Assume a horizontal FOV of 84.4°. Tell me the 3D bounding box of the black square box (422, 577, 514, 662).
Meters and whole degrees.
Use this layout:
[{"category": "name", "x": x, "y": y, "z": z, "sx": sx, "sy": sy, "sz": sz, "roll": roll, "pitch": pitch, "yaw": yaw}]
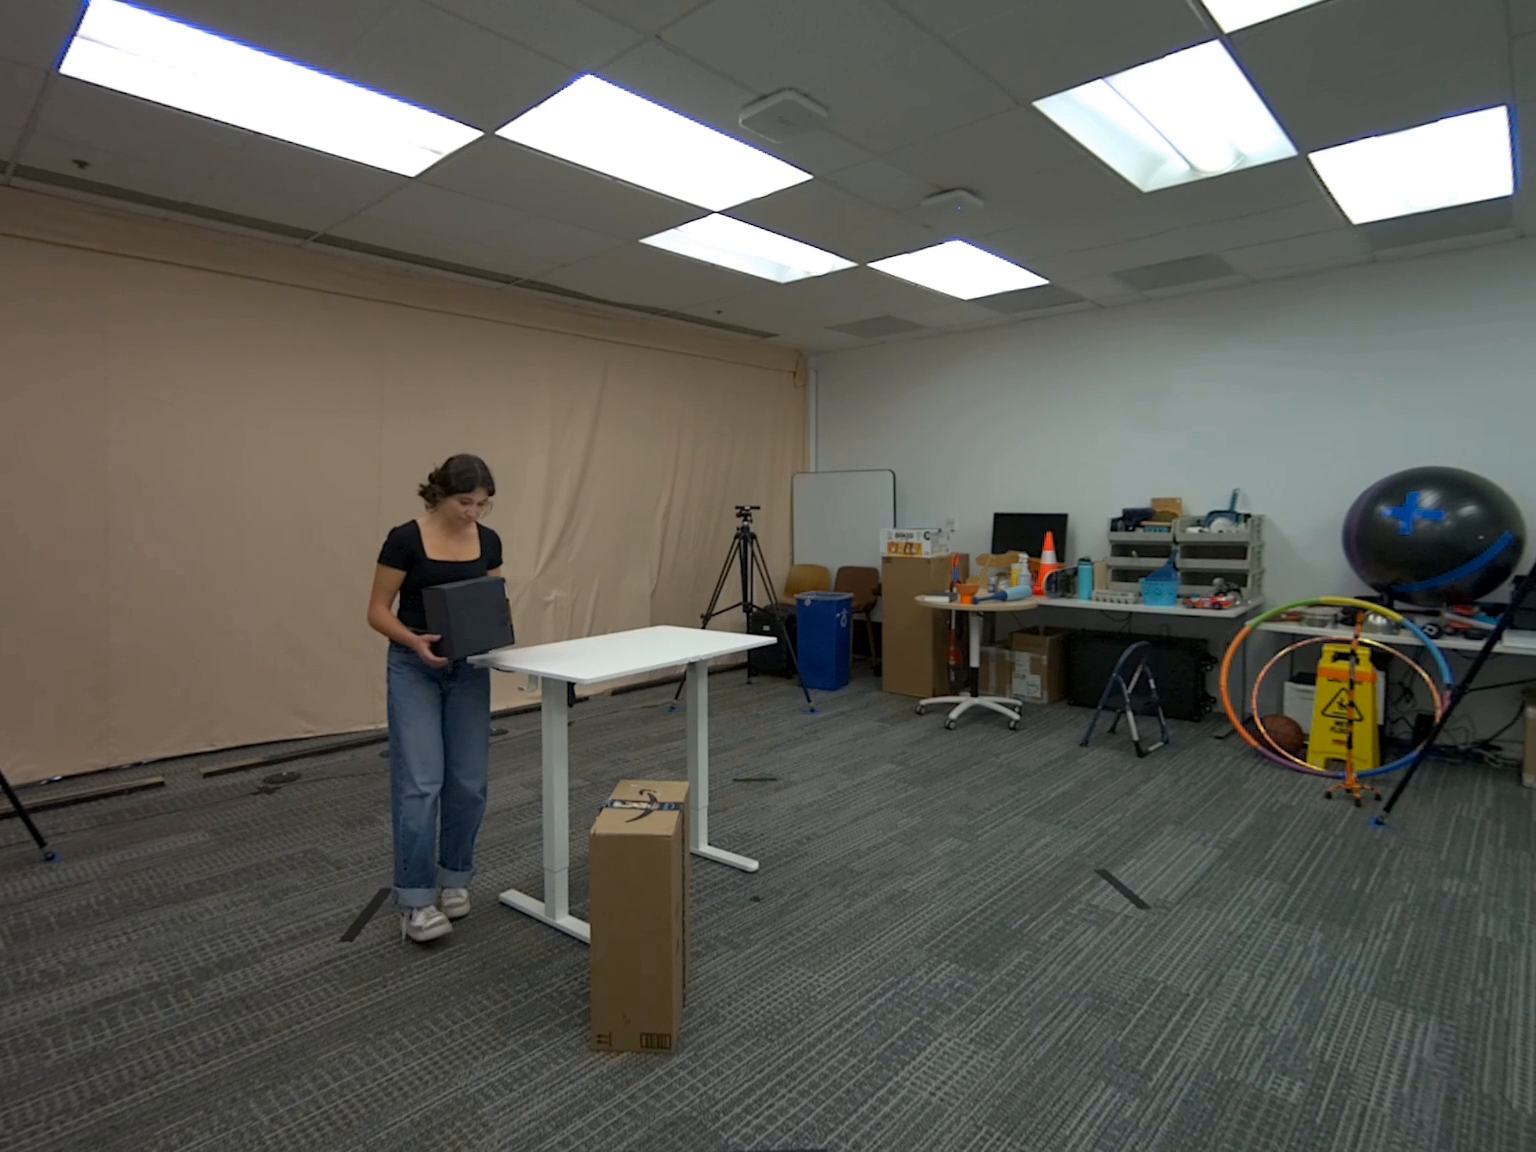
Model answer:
[{"category": "black square box", "x": -0.966, "y": 0.126, "z": 2.713, "sx": 0.161, "sy": 0.227, "sz": 0.211, "roll": -4, "pitch": 3, "yaw": 43}]
